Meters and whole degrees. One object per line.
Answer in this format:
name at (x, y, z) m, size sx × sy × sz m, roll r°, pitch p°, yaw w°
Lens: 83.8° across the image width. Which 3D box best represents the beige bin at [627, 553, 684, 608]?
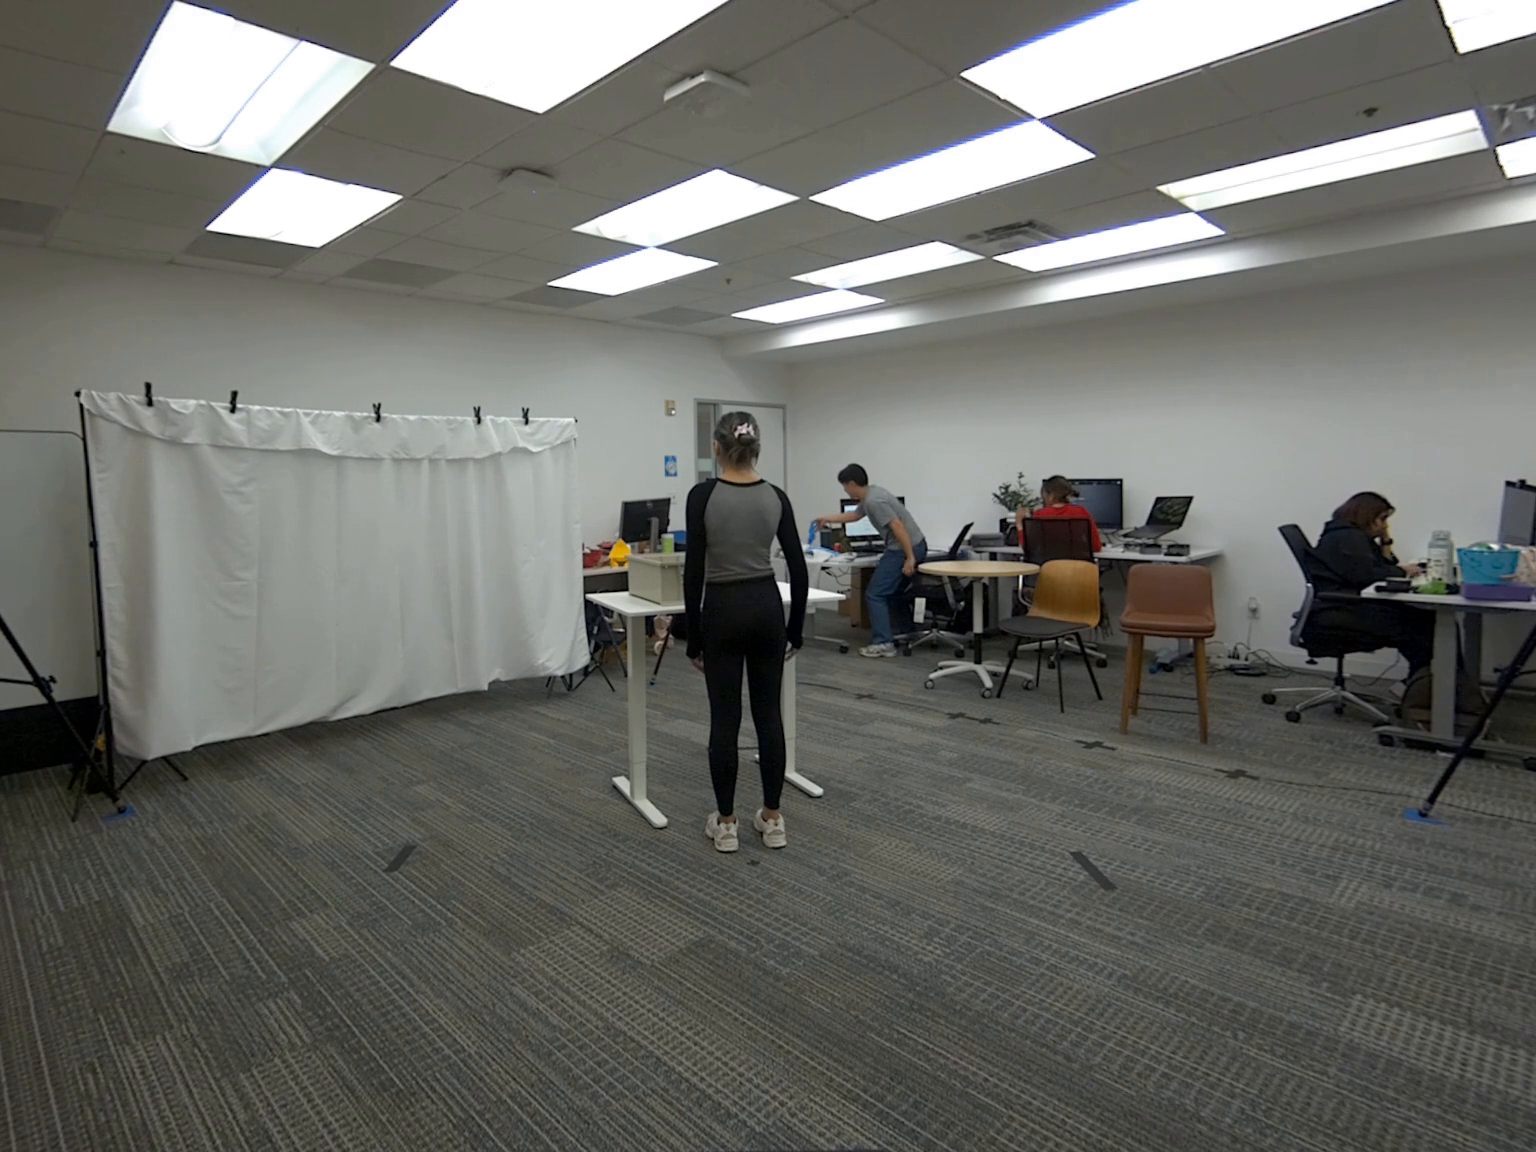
beige bin at (-0.372, 0.009, 3.716) m, size 0.369 × 0.188 × 0.434 m, roll -5°, pitch 8°, yaw -28°
